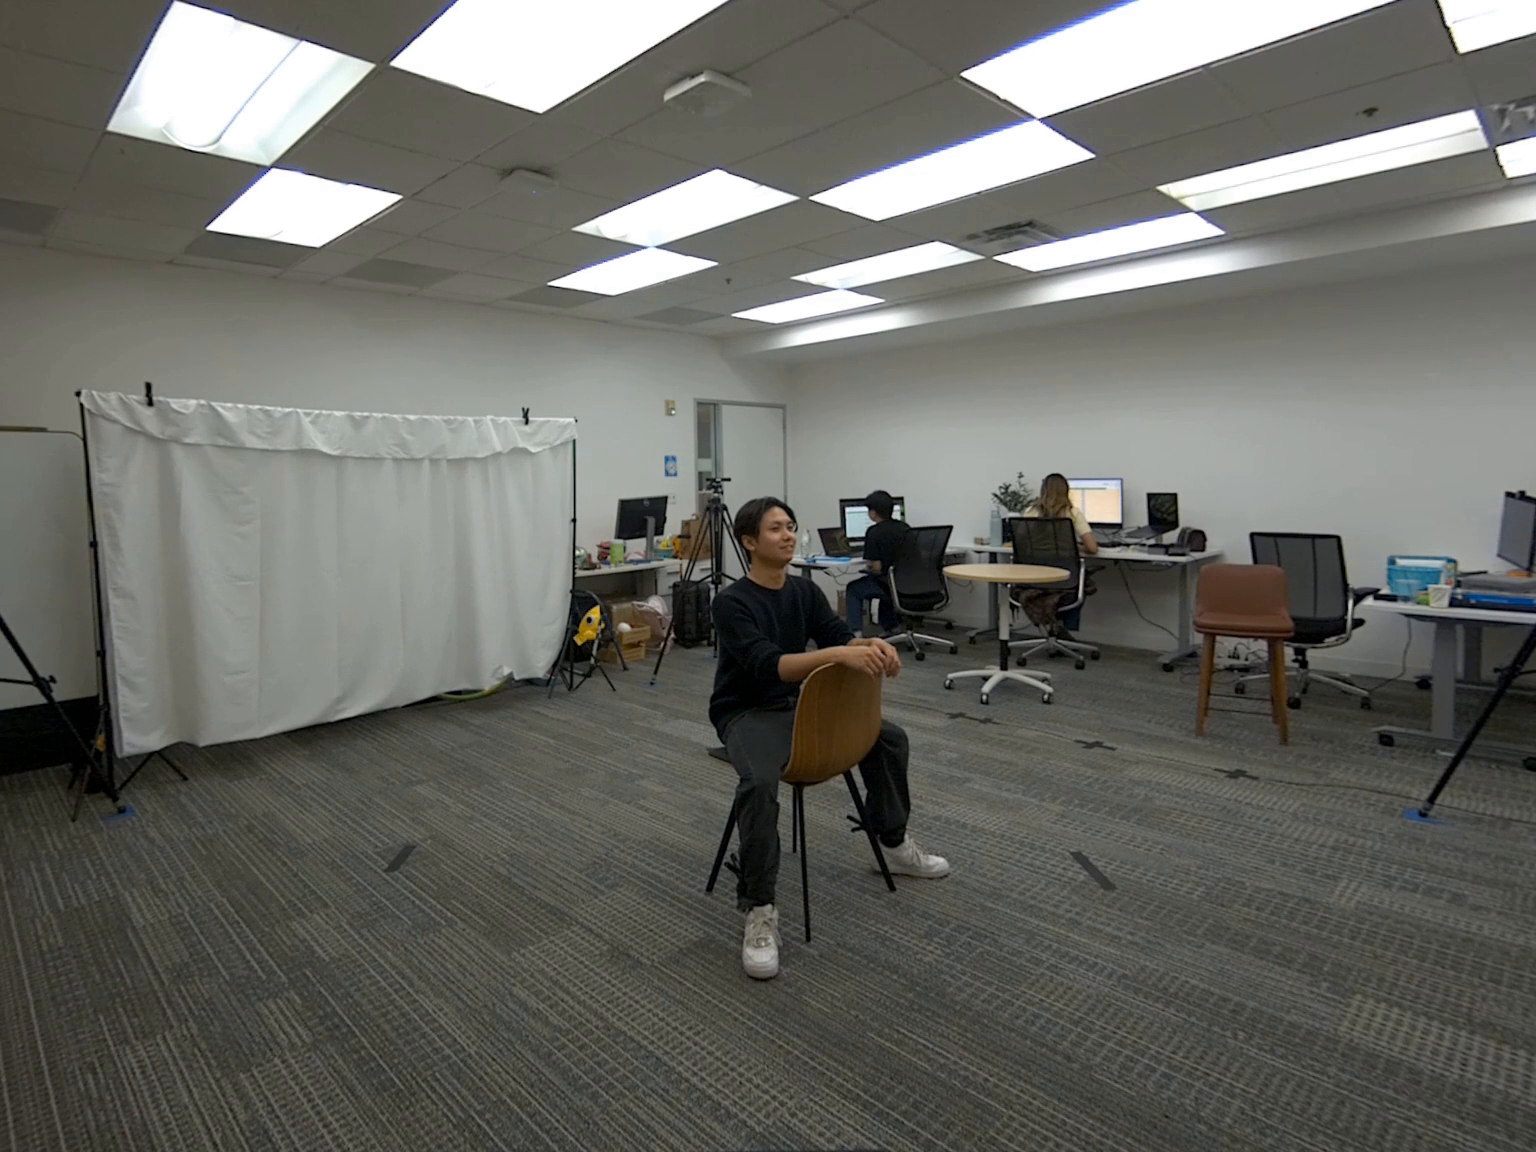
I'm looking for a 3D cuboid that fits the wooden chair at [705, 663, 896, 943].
[{"bbox_3d":[0.091,0.636,2.862,0.465,0.872,0.540,-5,10,-44],"label":"wooden chair"}]
